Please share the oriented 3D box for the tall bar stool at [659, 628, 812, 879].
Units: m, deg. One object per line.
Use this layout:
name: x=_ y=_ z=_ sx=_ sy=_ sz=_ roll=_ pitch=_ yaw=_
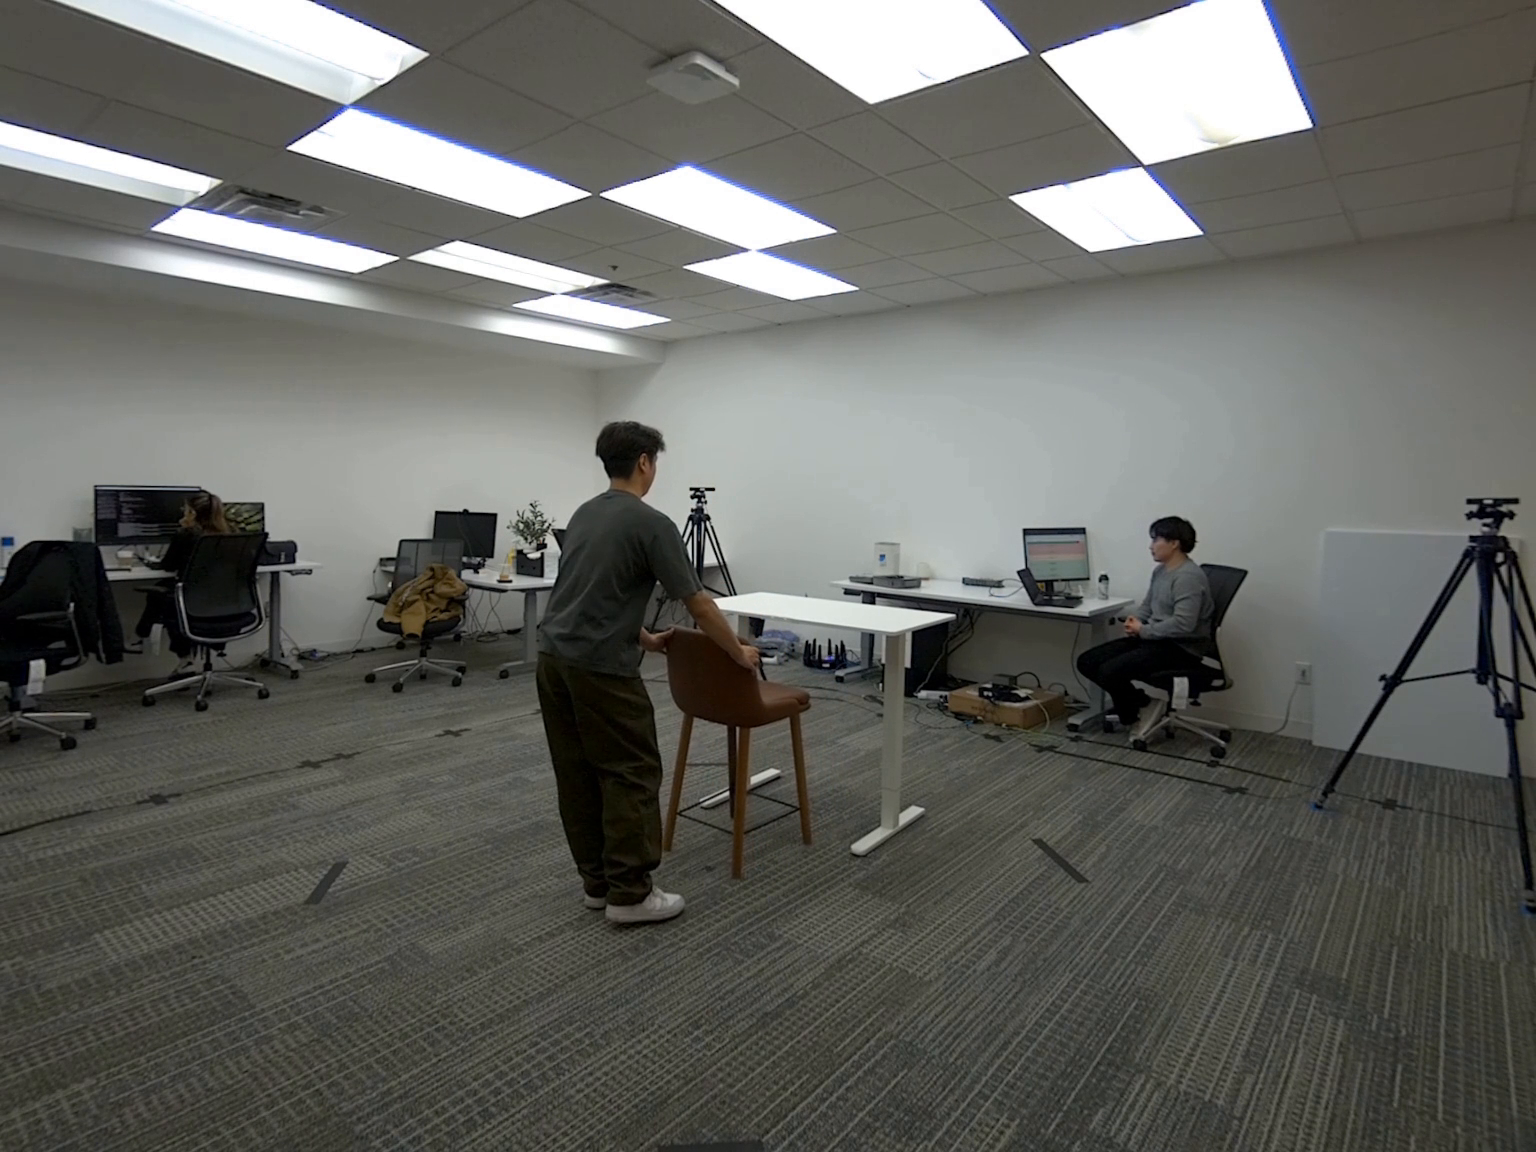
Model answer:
tall bar stool: x=-0.134 y=0.608 z=3.281 sx=0.472 sy=0.885 sz=0.454 roll=4 pitch=7 yaw=40
